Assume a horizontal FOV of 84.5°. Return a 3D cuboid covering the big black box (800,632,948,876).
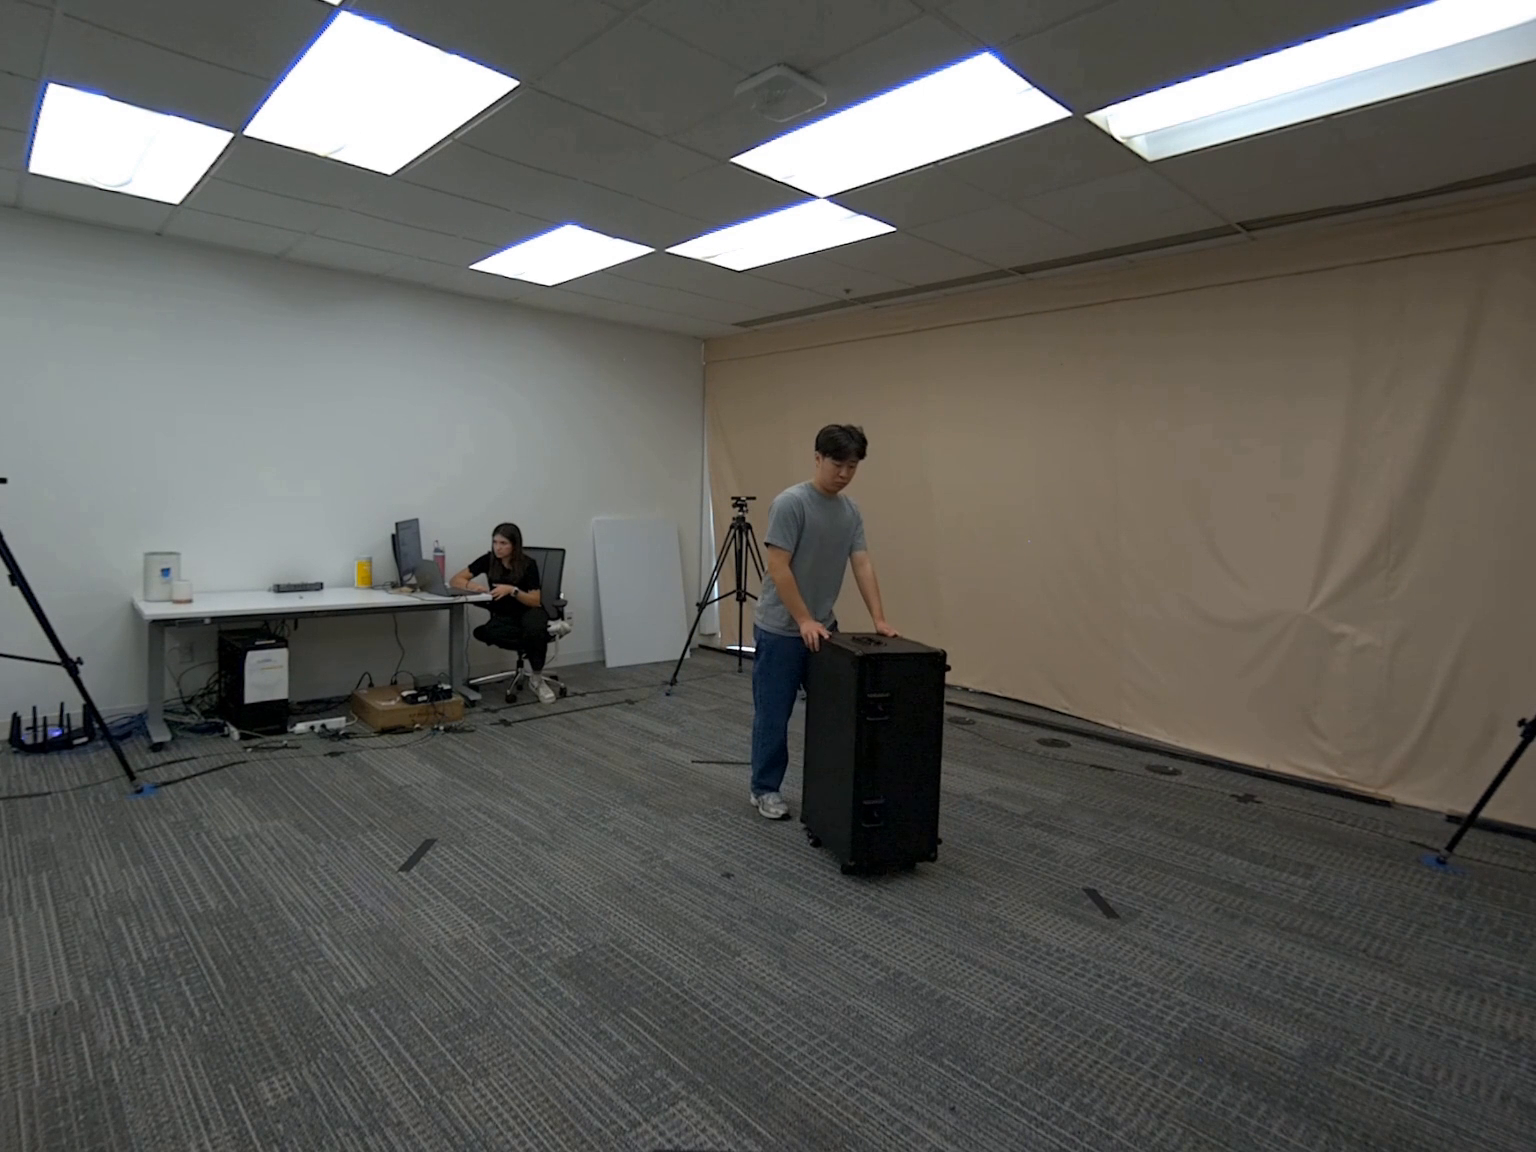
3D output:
[{"bbox_3d":[0.393,0.679,3.276,0.391,0.860,0.529,2,2,-18],"label":"big black box"}]
